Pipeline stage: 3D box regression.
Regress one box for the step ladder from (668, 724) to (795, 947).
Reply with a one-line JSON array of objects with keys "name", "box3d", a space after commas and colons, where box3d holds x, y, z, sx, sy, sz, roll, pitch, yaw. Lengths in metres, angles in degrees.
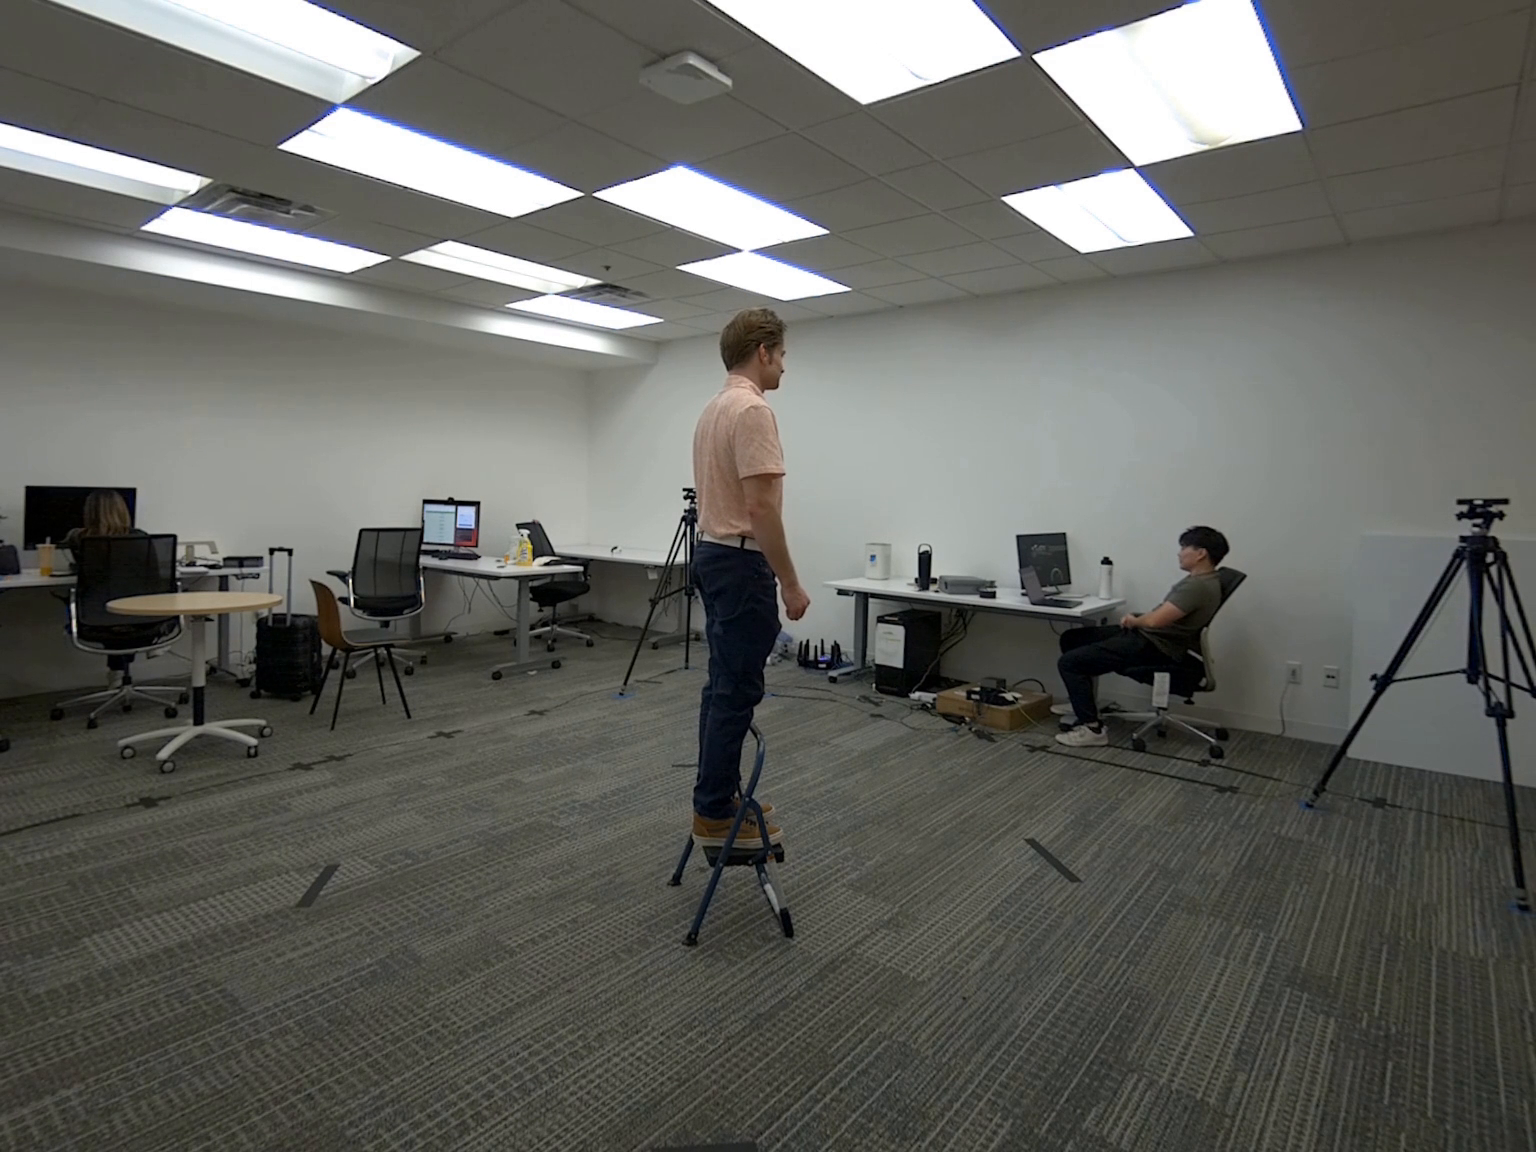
[{"name": "step ladder", "box3d": [-0.129, 0.803, 2.802, 0.345, 0.604, 0.437, 0, 4, -13]}]
